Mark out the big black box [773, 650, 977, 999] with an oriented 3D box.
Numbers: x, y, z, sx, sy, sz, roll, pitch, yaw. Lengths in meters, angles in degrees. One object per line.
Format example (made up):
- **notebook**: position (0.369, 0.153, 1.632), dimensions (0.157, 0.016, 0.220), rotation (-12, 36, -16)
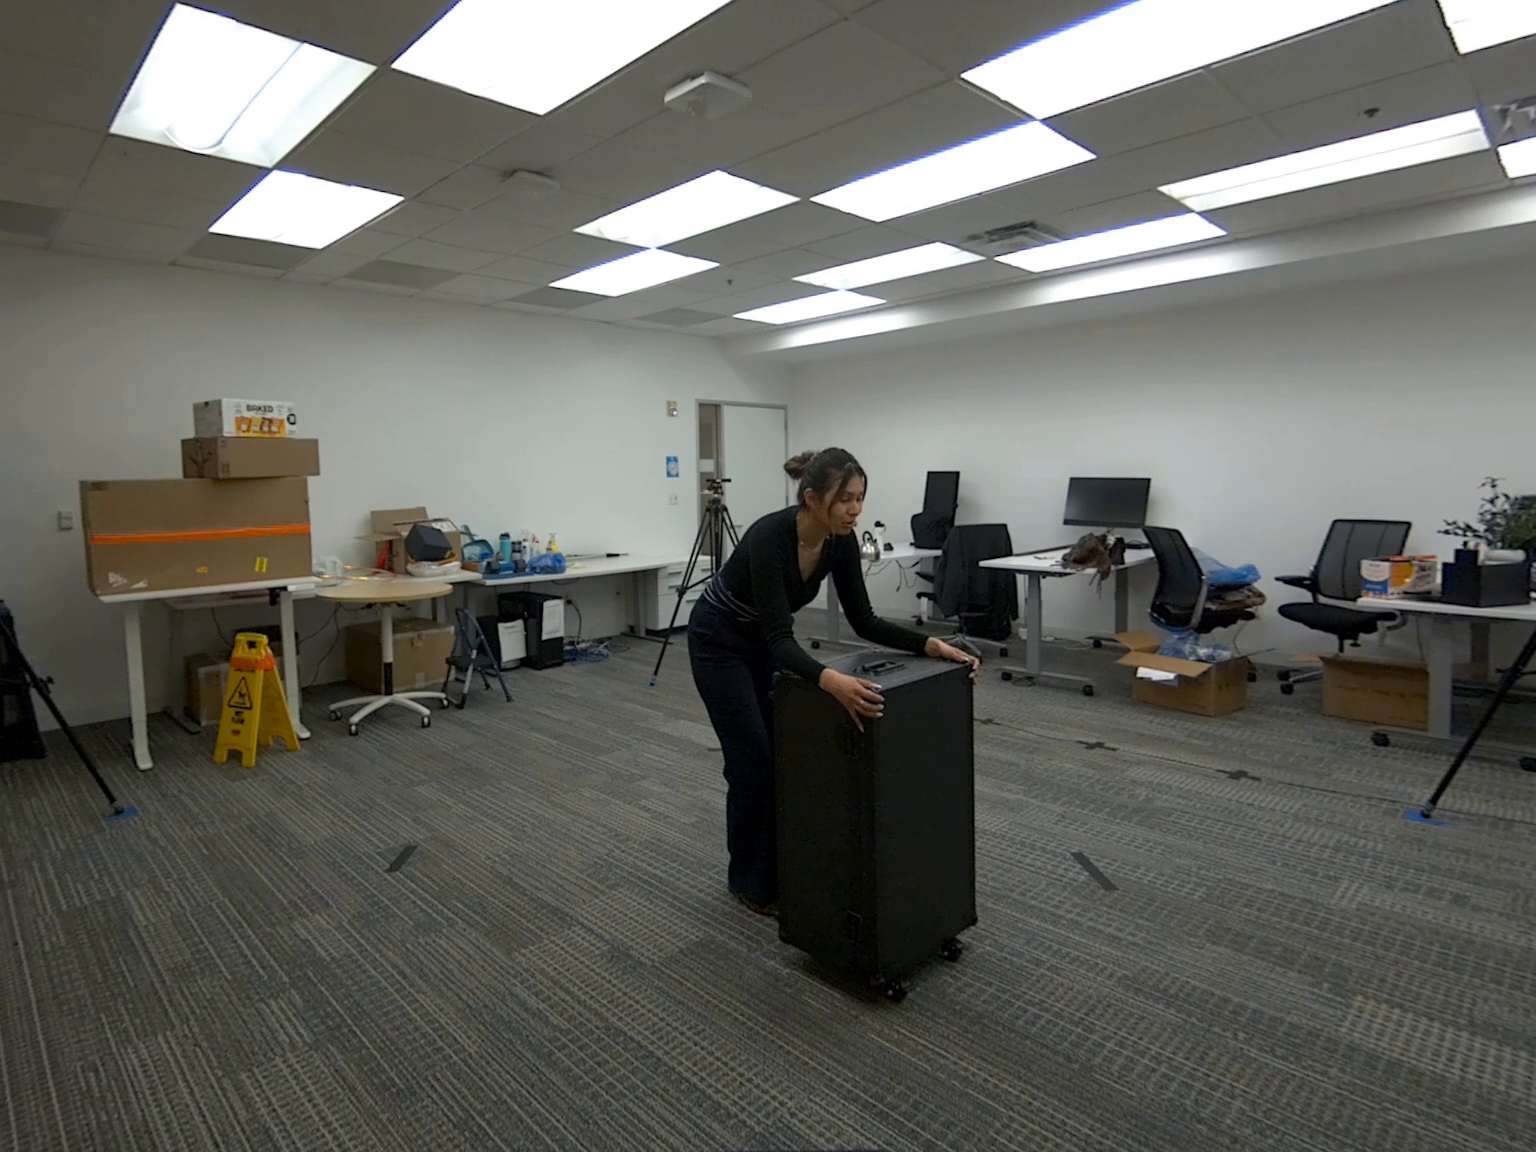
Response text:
- **big black box**: position (0.310, 0.688, 2.472), dimensions (0.507, 0.859, 0.408), rotation (-5, 4, -44)
